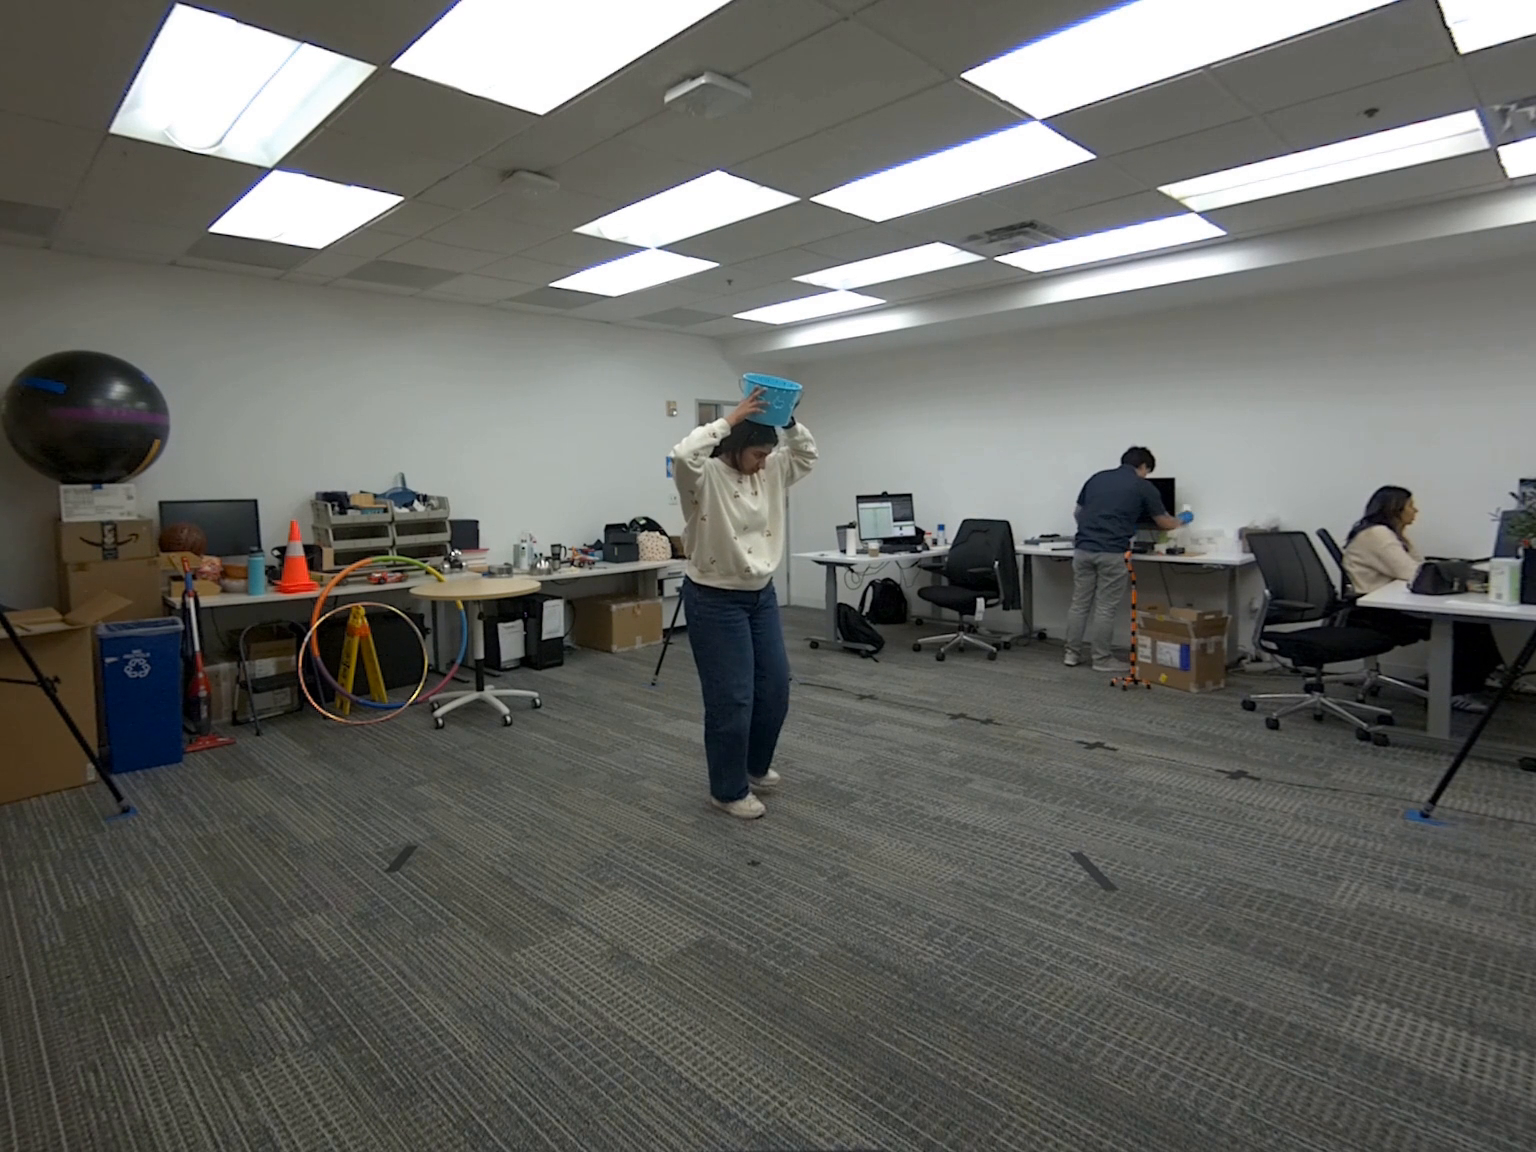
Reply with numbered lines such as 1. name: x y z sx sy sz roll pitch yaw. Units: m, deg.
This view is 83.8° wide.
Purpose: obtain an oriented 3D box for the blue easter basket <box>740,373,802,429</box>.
1. blue easter basket: 0.010 -0.677 3.291 0.242 0.153 0.248 9 22 -5
